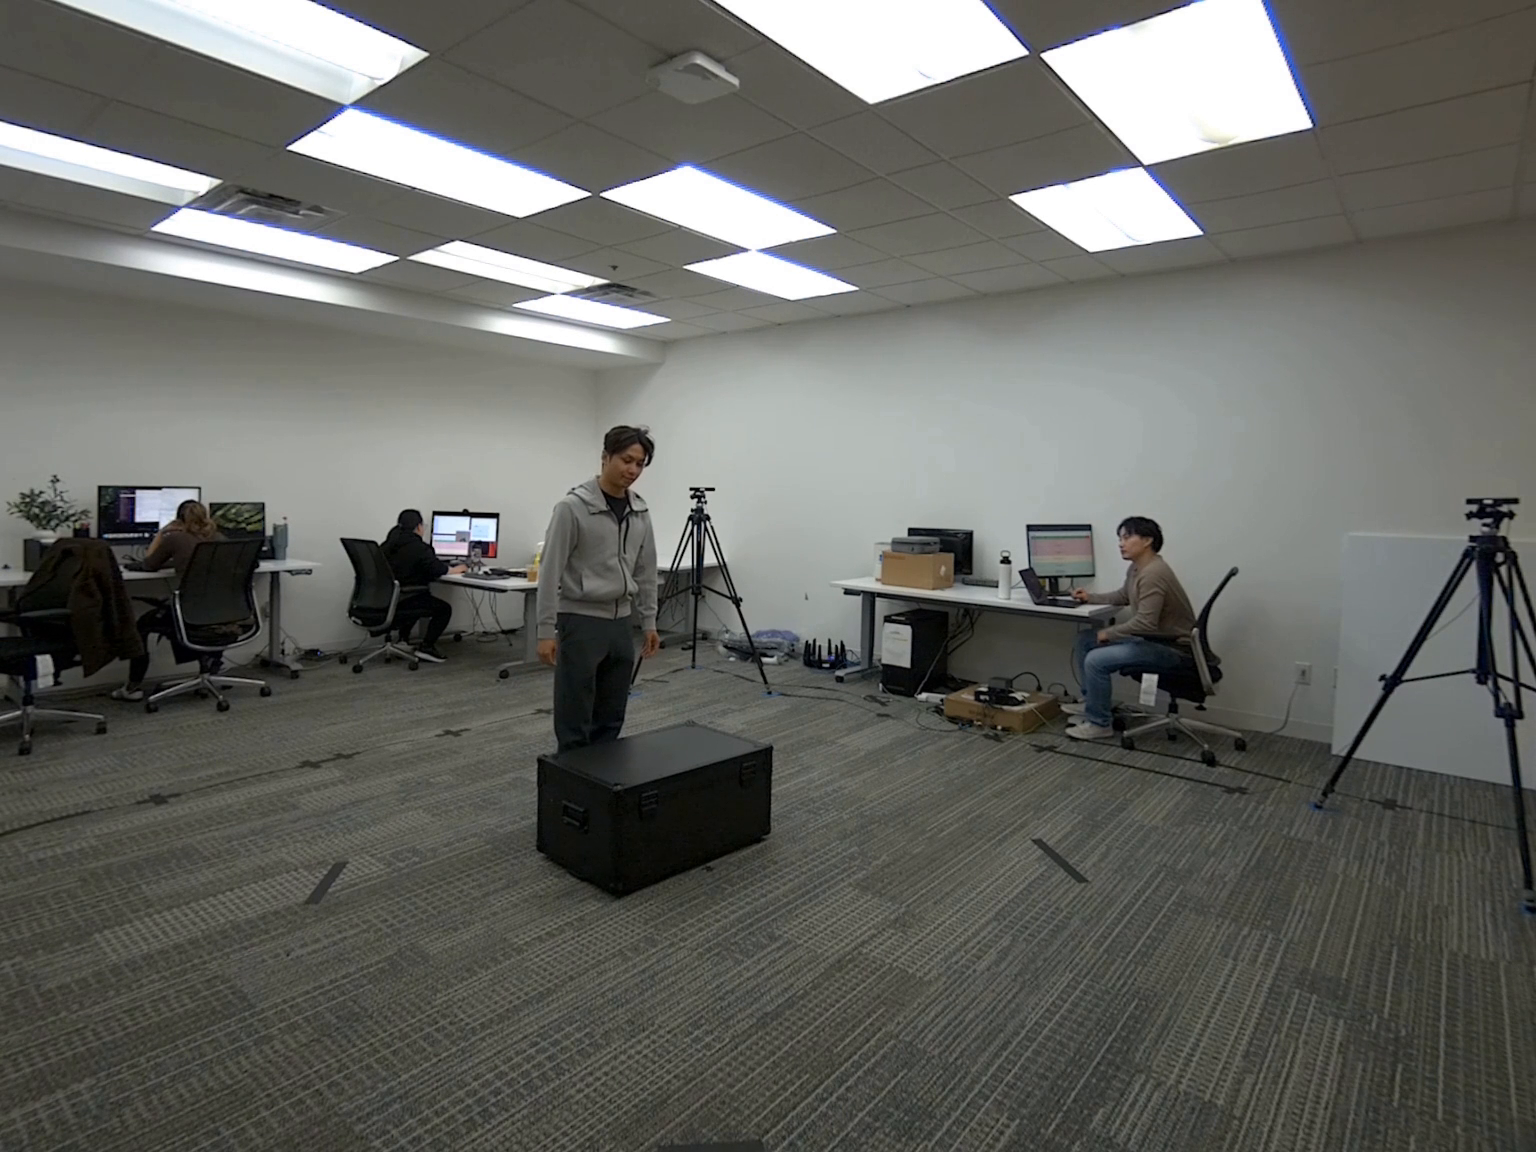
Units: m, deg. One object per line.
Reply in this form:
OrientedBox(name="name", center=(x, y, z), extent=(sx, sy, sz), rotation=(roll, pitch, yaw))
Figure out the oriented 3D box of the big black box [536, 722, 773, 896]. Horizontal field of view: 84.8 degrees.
OrientedBox(name="big black box", center=(-0.407, 0.856, 3.291), extent=(0.539, 0.395, 0.836), rotation=(5, 7, 43))
